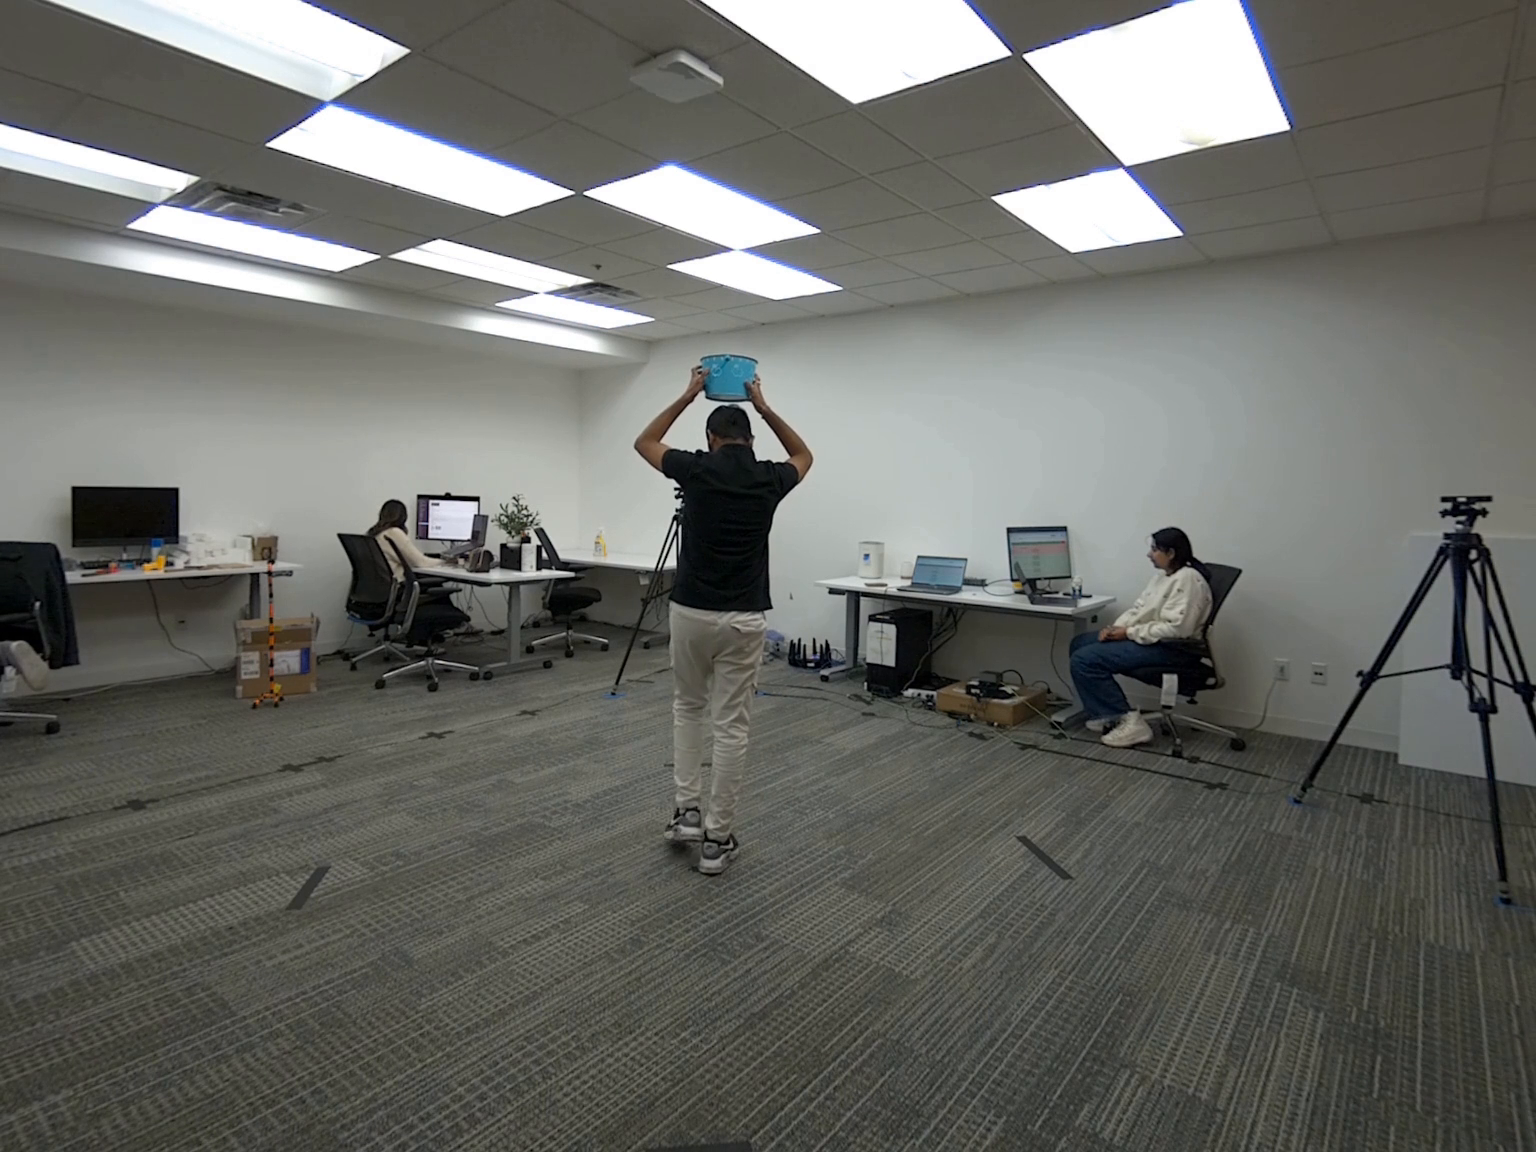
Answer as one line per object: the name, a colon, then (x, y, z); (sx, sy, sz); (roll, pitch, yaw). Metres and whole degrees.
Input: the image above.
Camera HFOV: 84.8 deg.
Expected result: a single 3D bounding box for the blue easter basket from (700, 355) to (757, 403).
blue easter basket: (-0.175, -0.797, 3.428); (0.243, 0.156, 0.244); (2, 0, -2)
